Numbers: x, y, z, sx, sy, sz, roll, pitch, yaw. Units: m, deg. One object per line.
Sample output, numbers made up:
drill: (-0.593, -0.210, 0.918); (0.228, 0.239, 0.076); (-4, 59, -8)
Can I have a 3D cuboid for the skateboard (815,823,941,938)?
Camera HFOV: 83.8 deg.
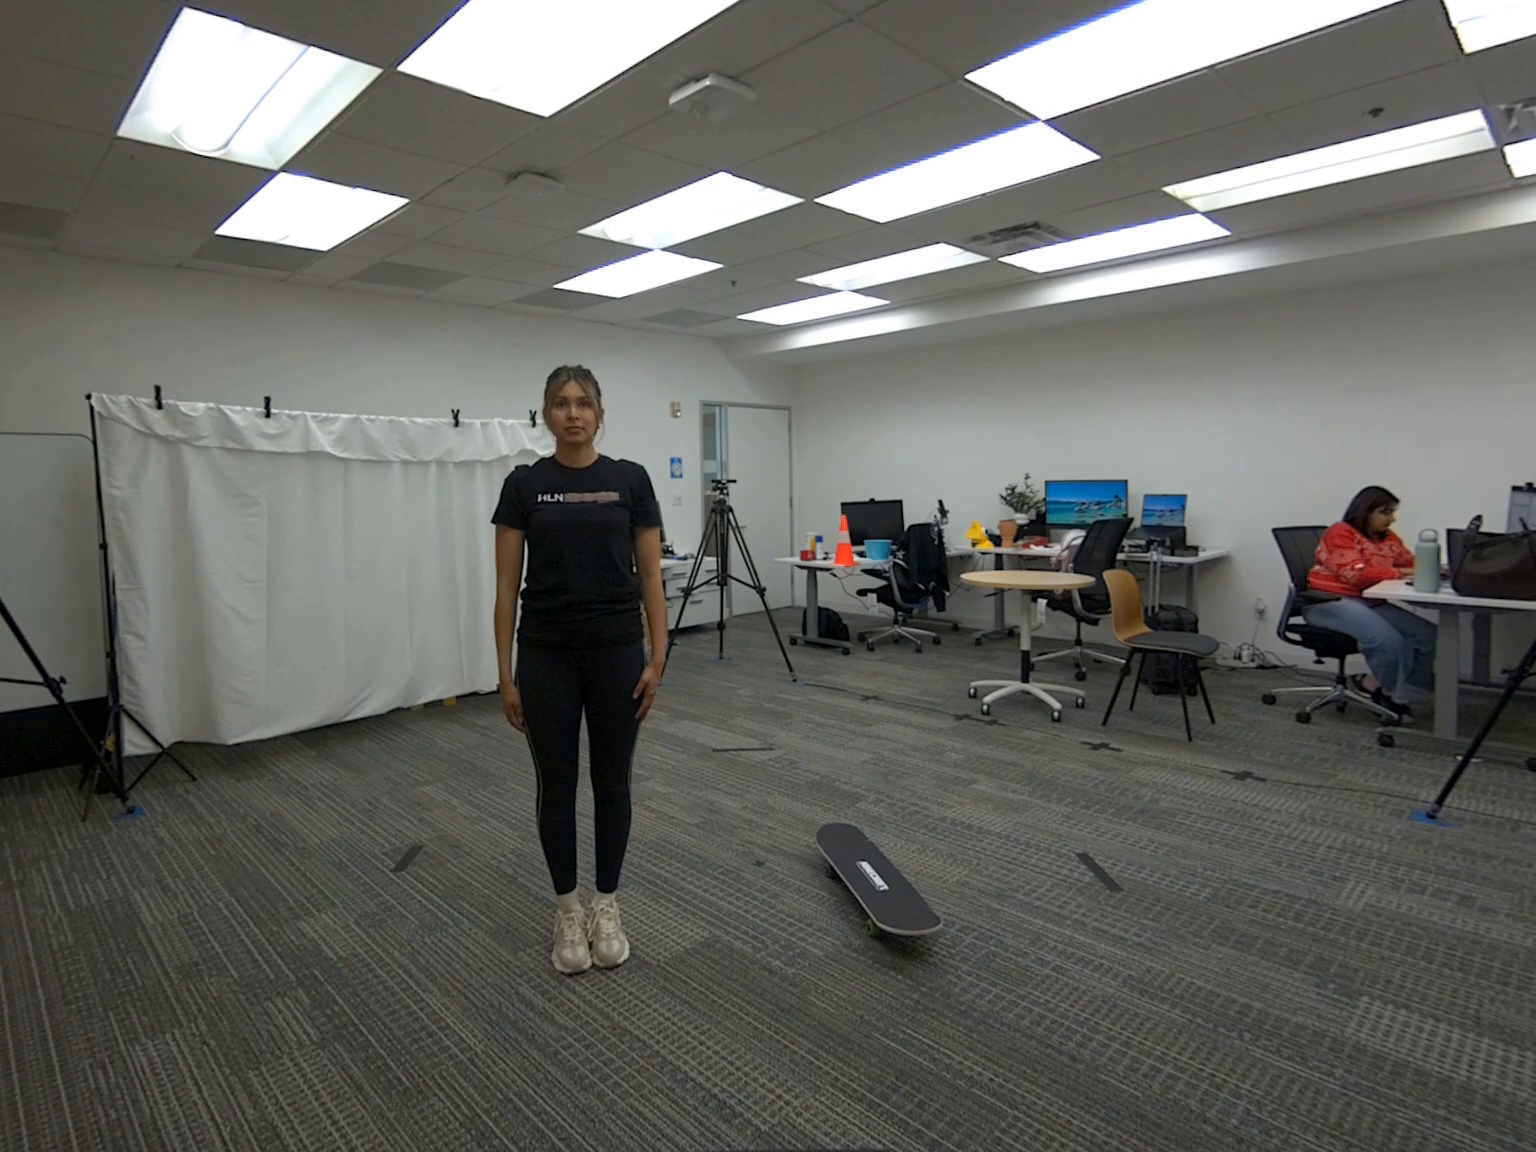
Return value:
skateboard: (0.350, 1.017, 2.811); (0.191, 0.110, 0.798); (-3, 7, -13)
